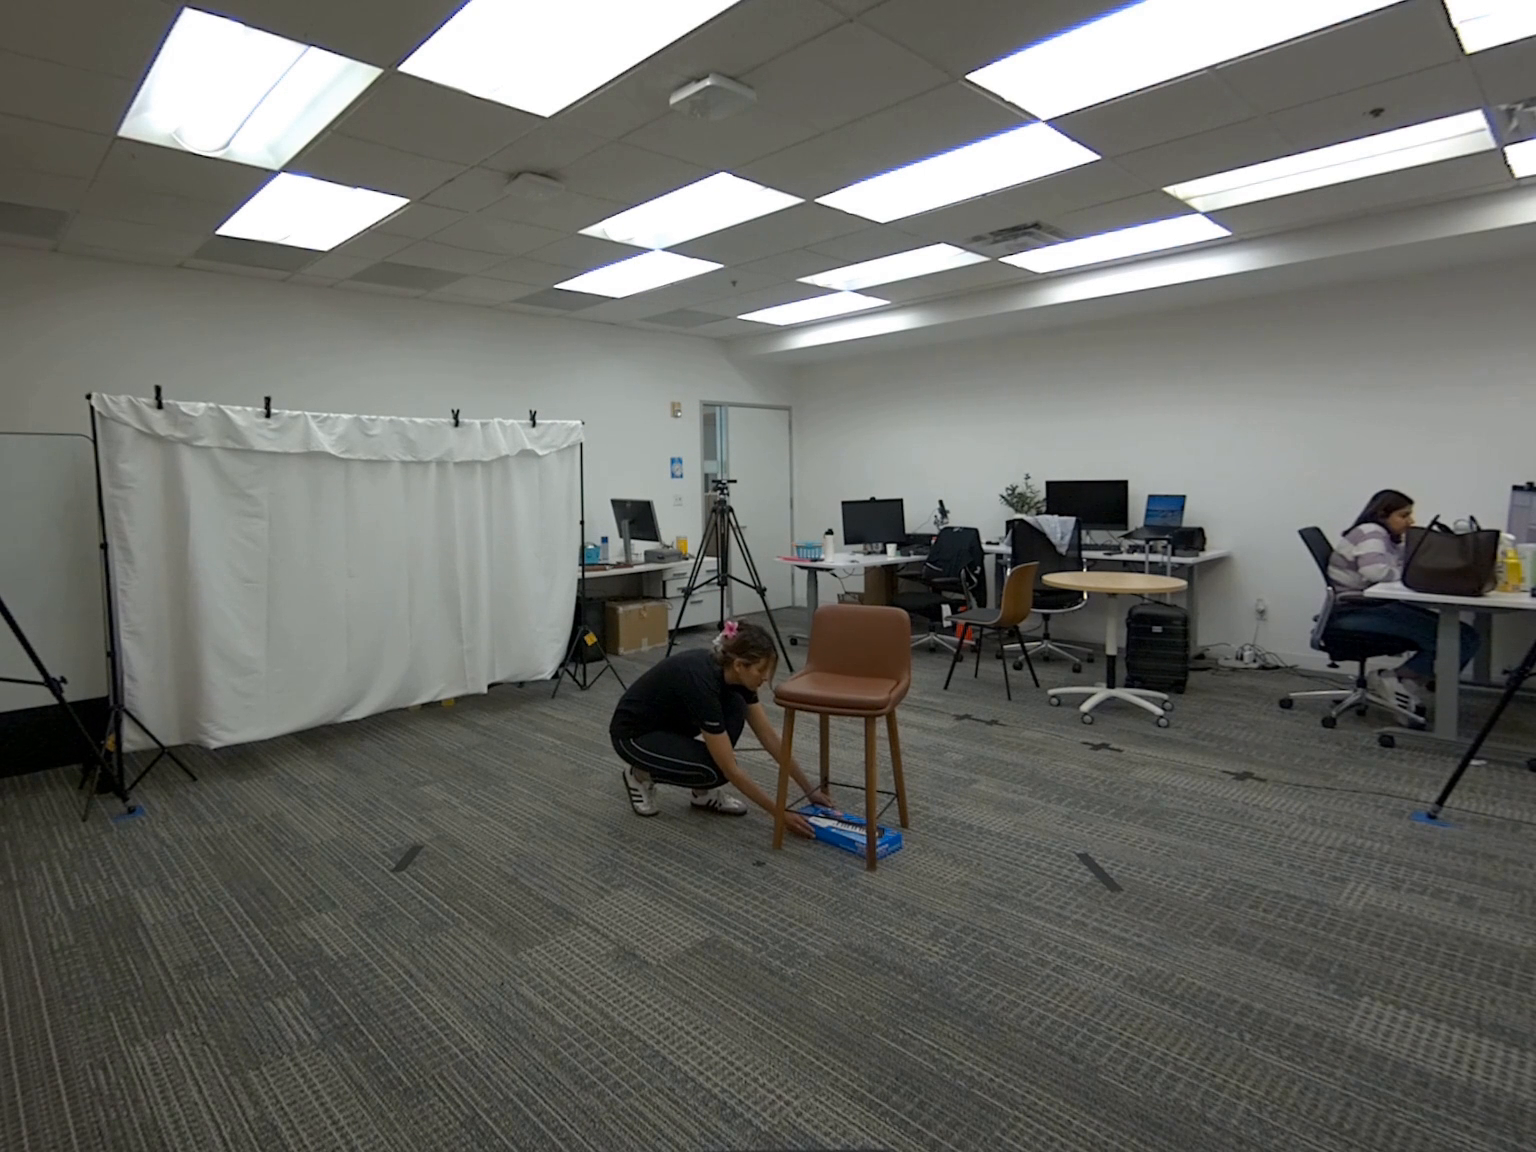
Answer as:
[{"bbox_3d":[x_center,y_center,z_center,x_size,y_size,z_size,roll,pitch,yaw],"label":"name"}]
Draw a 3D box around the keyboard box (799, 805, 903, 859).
[{"bbox_3d":[0.291,0.992,3.318,0.171,0.059,0.450,-6,8,-44],"label":"keyboard box"}]
